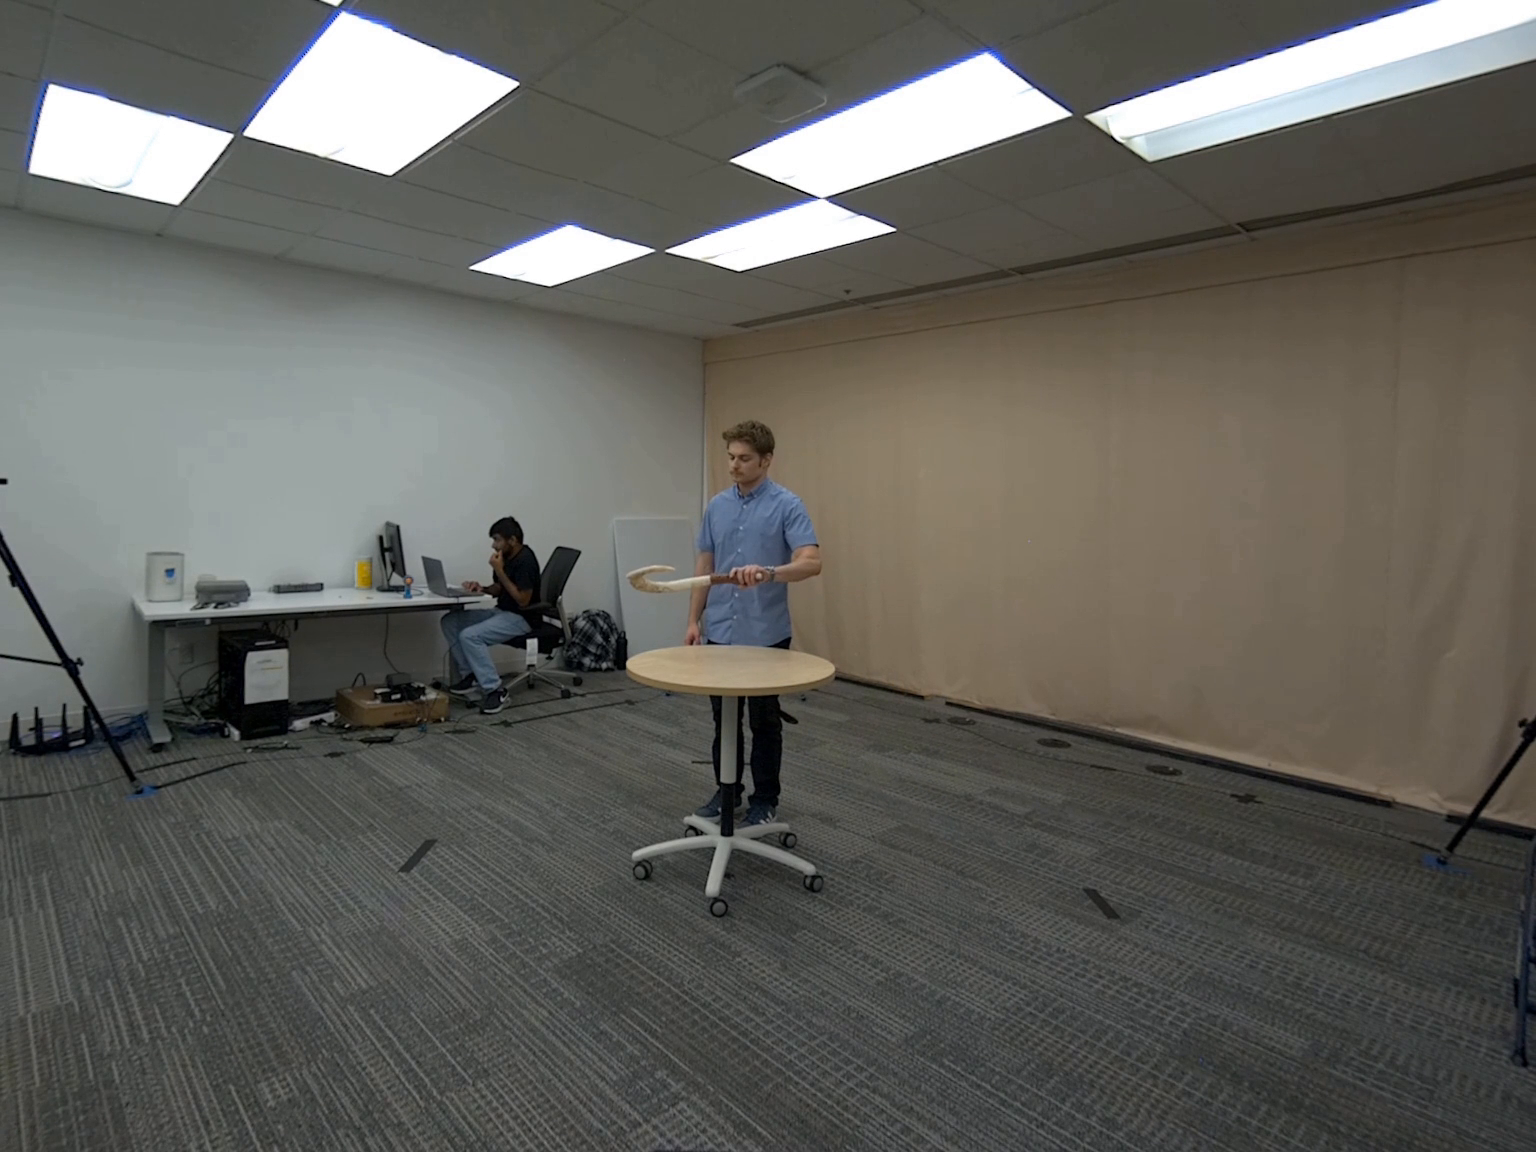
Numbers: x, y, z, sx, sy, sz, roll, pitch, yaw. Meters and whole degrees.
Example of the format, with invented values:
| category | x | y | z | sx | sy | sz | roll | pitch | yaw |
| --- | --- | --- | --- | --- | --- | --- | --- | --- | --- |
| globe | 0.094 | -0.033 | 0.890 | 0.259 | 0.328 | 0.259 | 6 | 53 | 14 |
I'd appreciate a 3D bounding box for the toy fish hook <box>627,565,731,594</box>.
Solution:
| category | x | y | z | sx | sy | sz | roll | pitch | yaw |
| --- | --- | --- | --- | --- | --- | --- | --- | --- | --- |
| toy fish hook | -0.283 | -0.003 | 3.145 | 0.509 | 0.049 | 0.220 | -4 | -20 | 6 |
